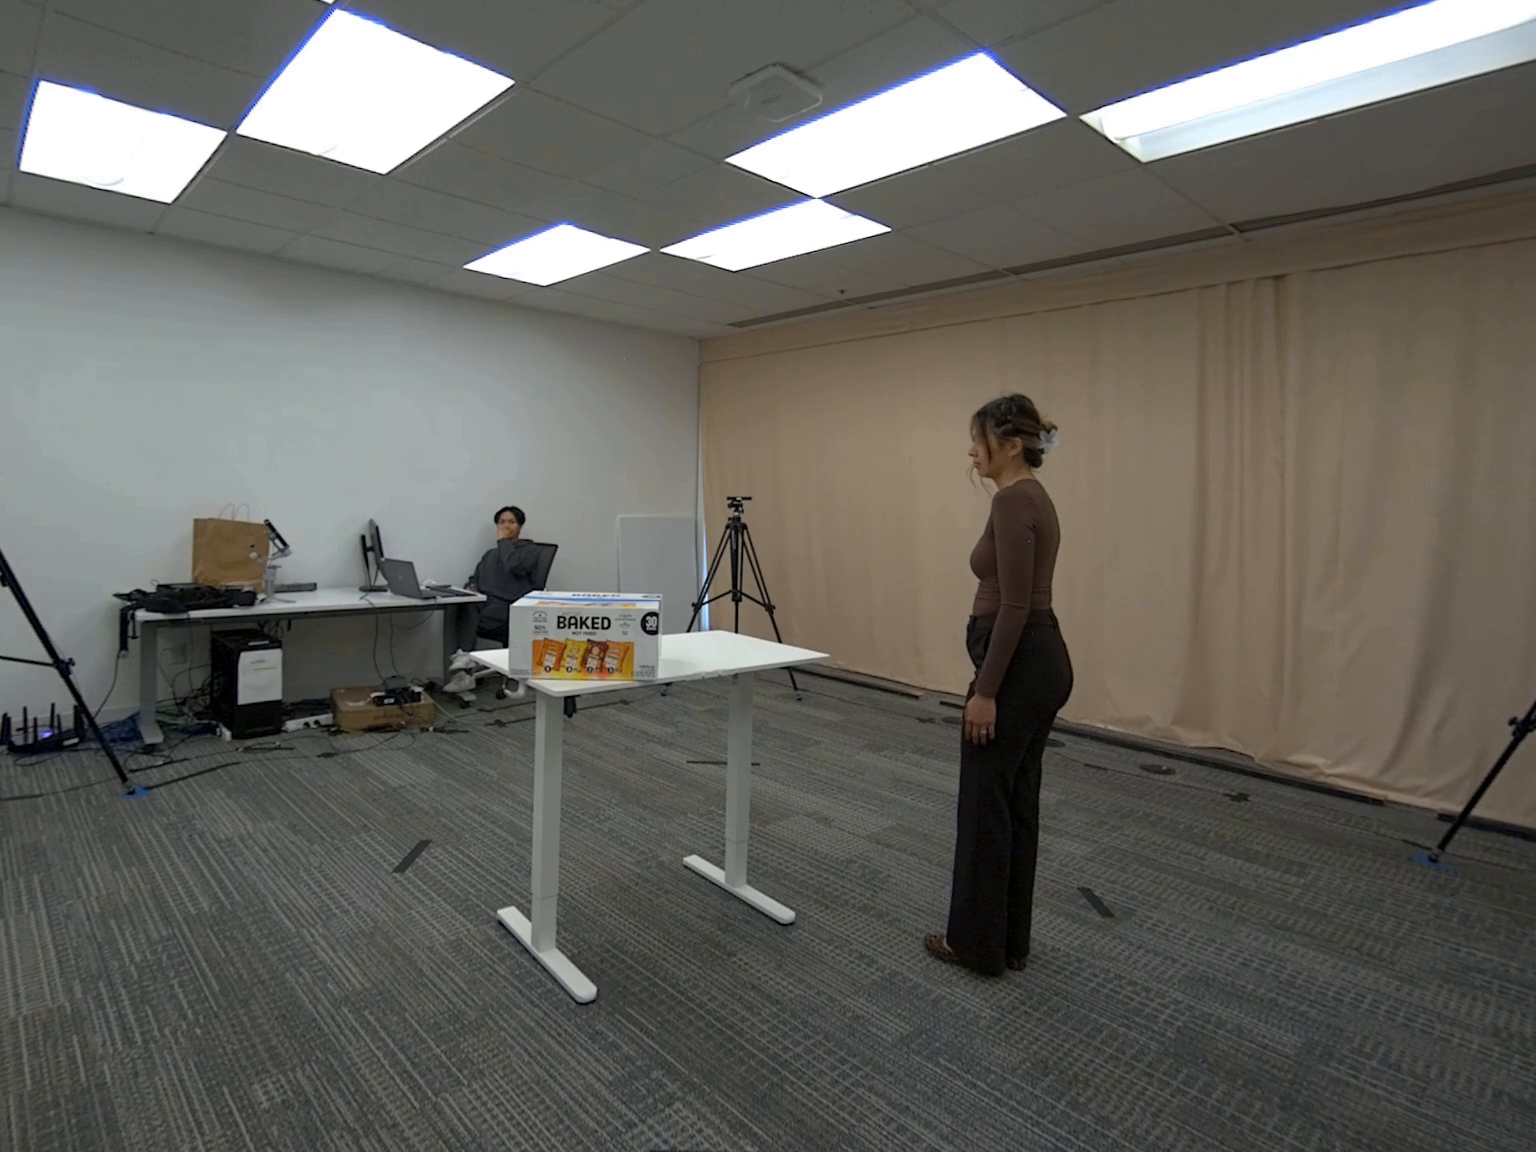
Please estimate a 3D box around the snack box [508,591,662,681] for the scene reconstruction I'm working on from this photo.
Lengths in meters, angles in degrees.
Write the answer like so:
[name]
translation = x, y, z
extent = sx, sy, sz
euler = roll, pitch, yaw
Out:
[snack box]
translation = -0.519, 0.170, 2.459
extent = 0.404, 0.205, 0.342
euler = 1, 5, -4
